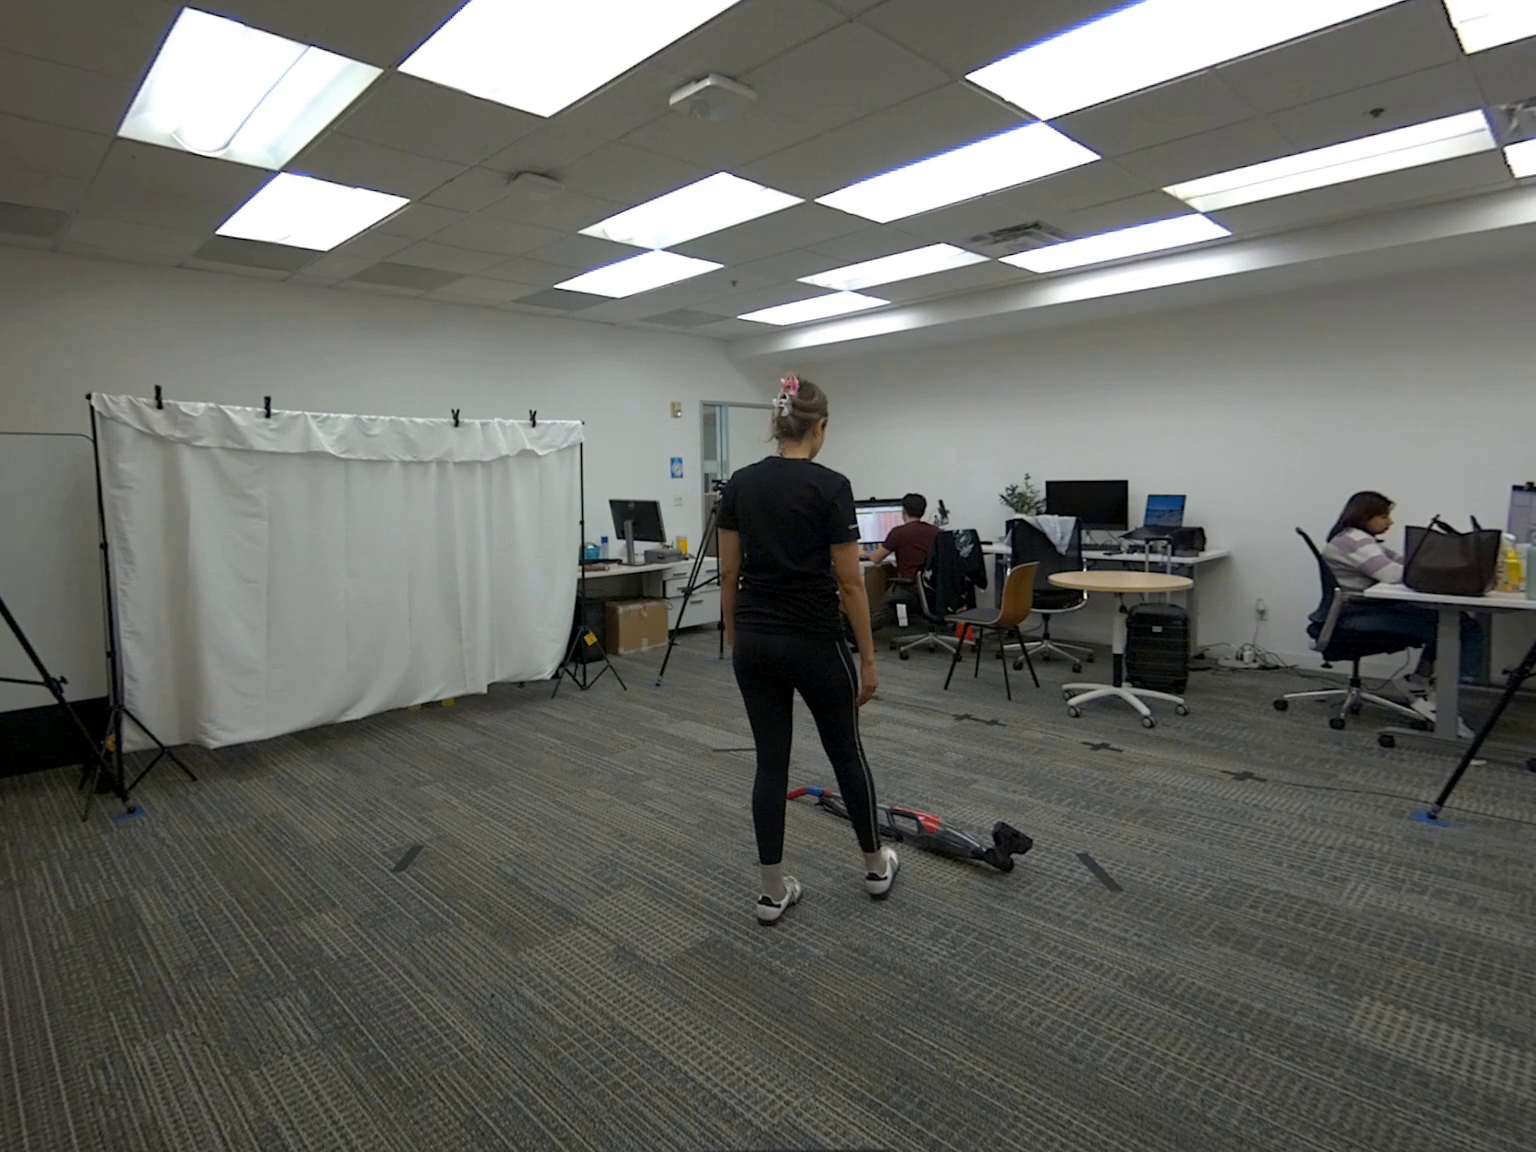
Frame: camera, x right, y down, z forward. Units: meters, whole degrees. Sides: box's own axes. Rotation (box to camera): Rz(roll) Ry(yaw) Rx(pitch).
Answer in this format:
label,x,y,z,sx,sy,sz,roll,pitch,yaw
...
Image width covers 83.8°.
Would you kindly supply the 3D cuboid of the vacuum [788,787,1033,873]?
label,x,y,z,sx,sy,sz,roll,pitch,yaw
vacuum,0.474,0.966,3.357,1.078,0.145,0.243,-2,-27,46
